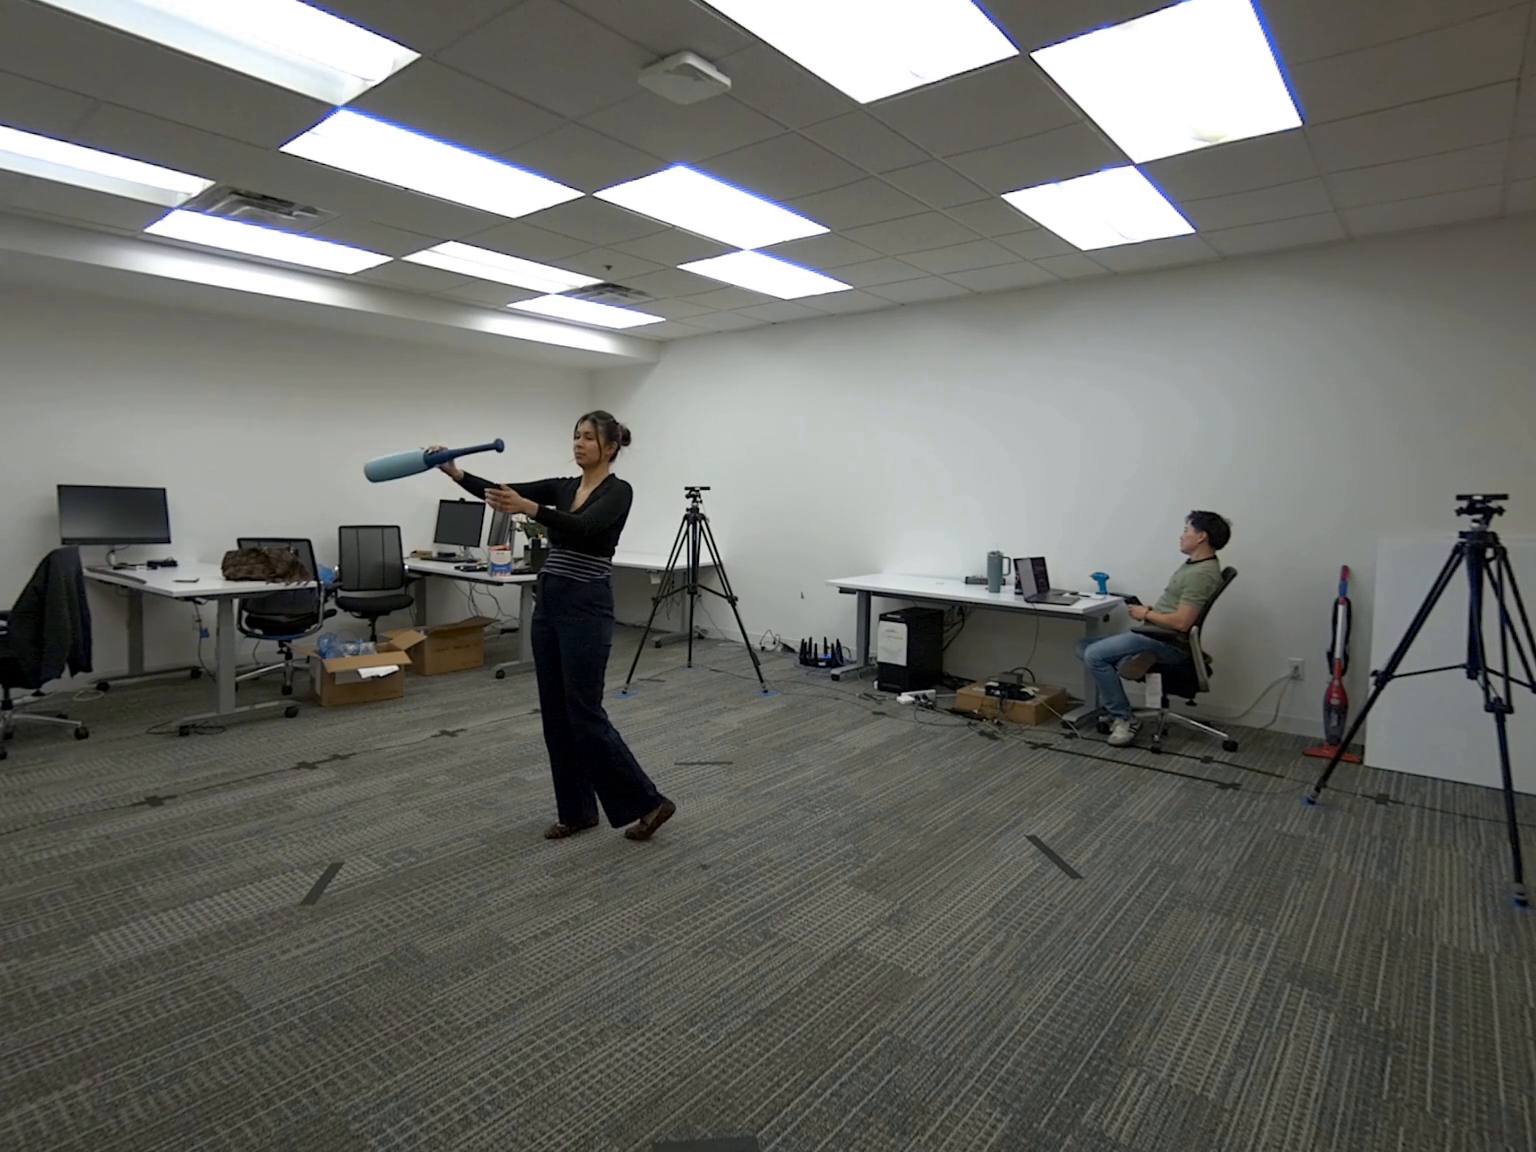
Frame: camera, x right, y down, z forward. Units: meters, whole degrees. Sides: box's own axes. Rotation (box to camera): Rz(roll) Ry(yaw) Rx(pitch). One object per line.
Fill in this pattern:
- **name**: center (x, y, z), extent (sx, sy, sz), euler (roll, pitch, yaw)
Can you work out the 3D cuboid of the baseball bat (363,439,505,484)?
- **baseball bat**: center (-1.191, -0.418, 3.008), extent (0.550, 0.089, 0.088), euler (-9, 2, 15)
